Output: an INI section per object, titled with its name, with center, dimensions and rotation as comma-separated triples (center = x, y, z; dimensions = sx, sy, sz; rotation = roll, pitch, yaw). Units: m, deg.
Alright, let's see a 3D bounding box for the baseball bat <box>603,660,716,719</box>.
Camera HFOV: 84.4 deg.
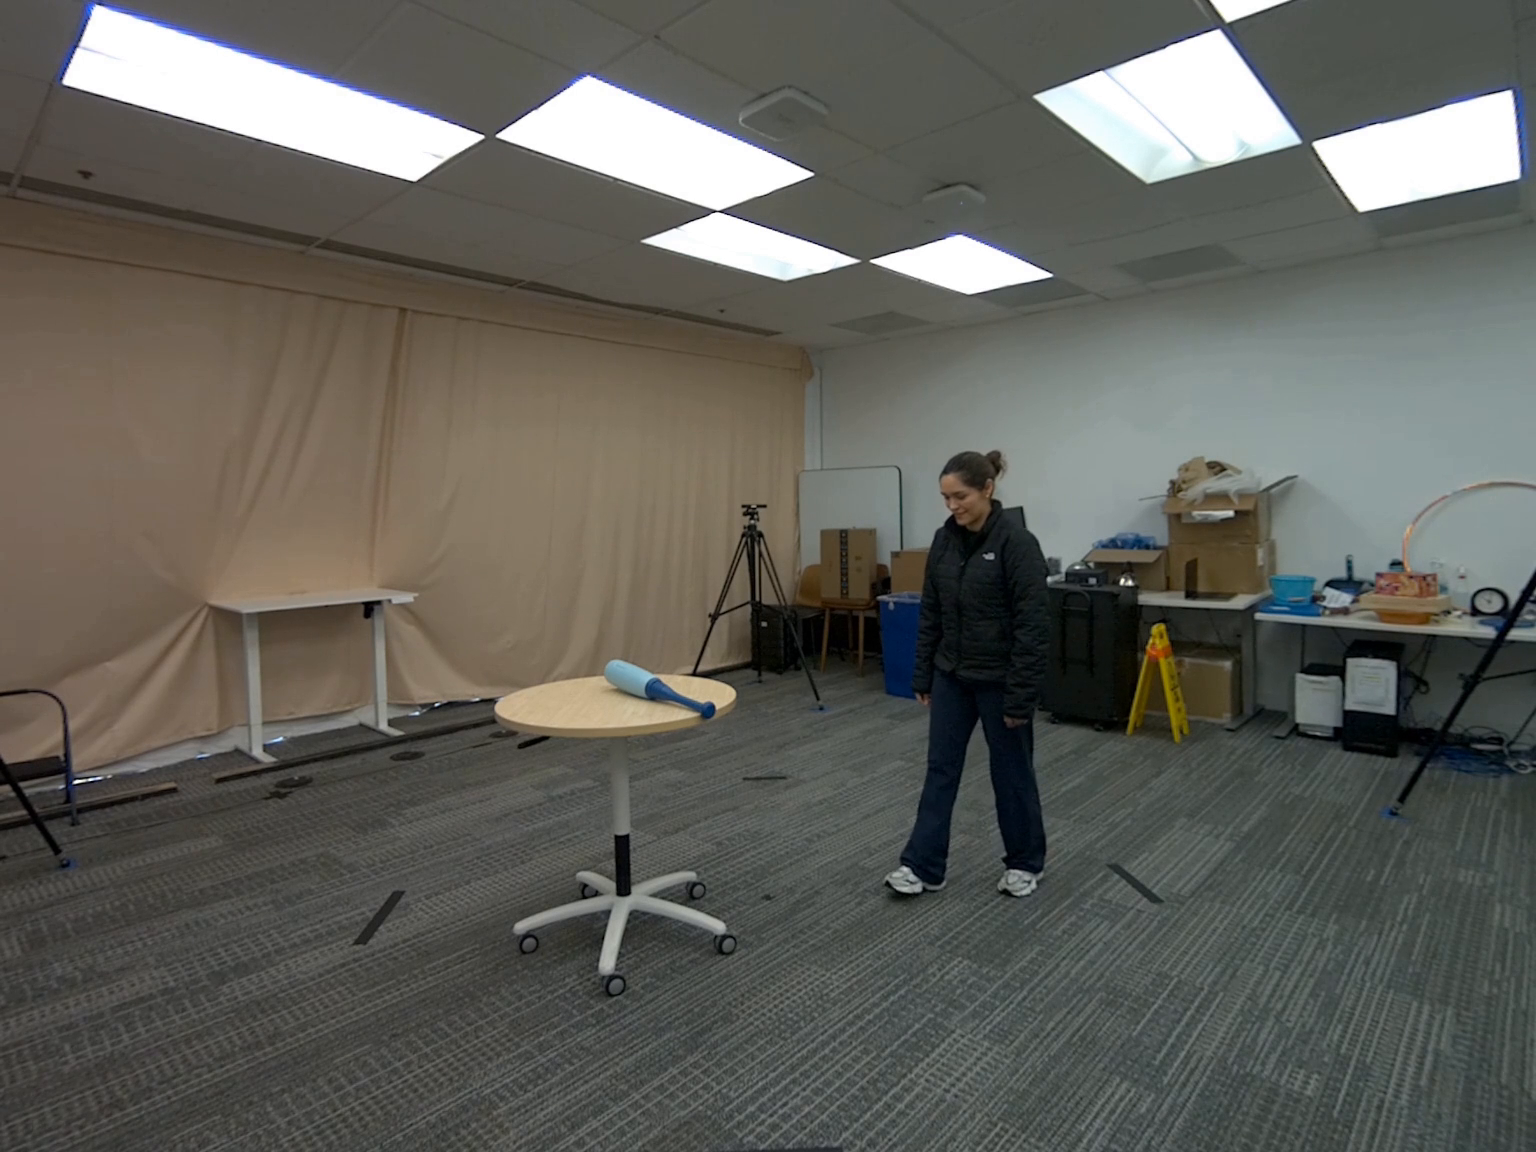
[baseball bat]
center = -0.321, 0.359, 2.649
dimensions = 0.086, 0.089, 0.562
rotation = -4, 10, -41
